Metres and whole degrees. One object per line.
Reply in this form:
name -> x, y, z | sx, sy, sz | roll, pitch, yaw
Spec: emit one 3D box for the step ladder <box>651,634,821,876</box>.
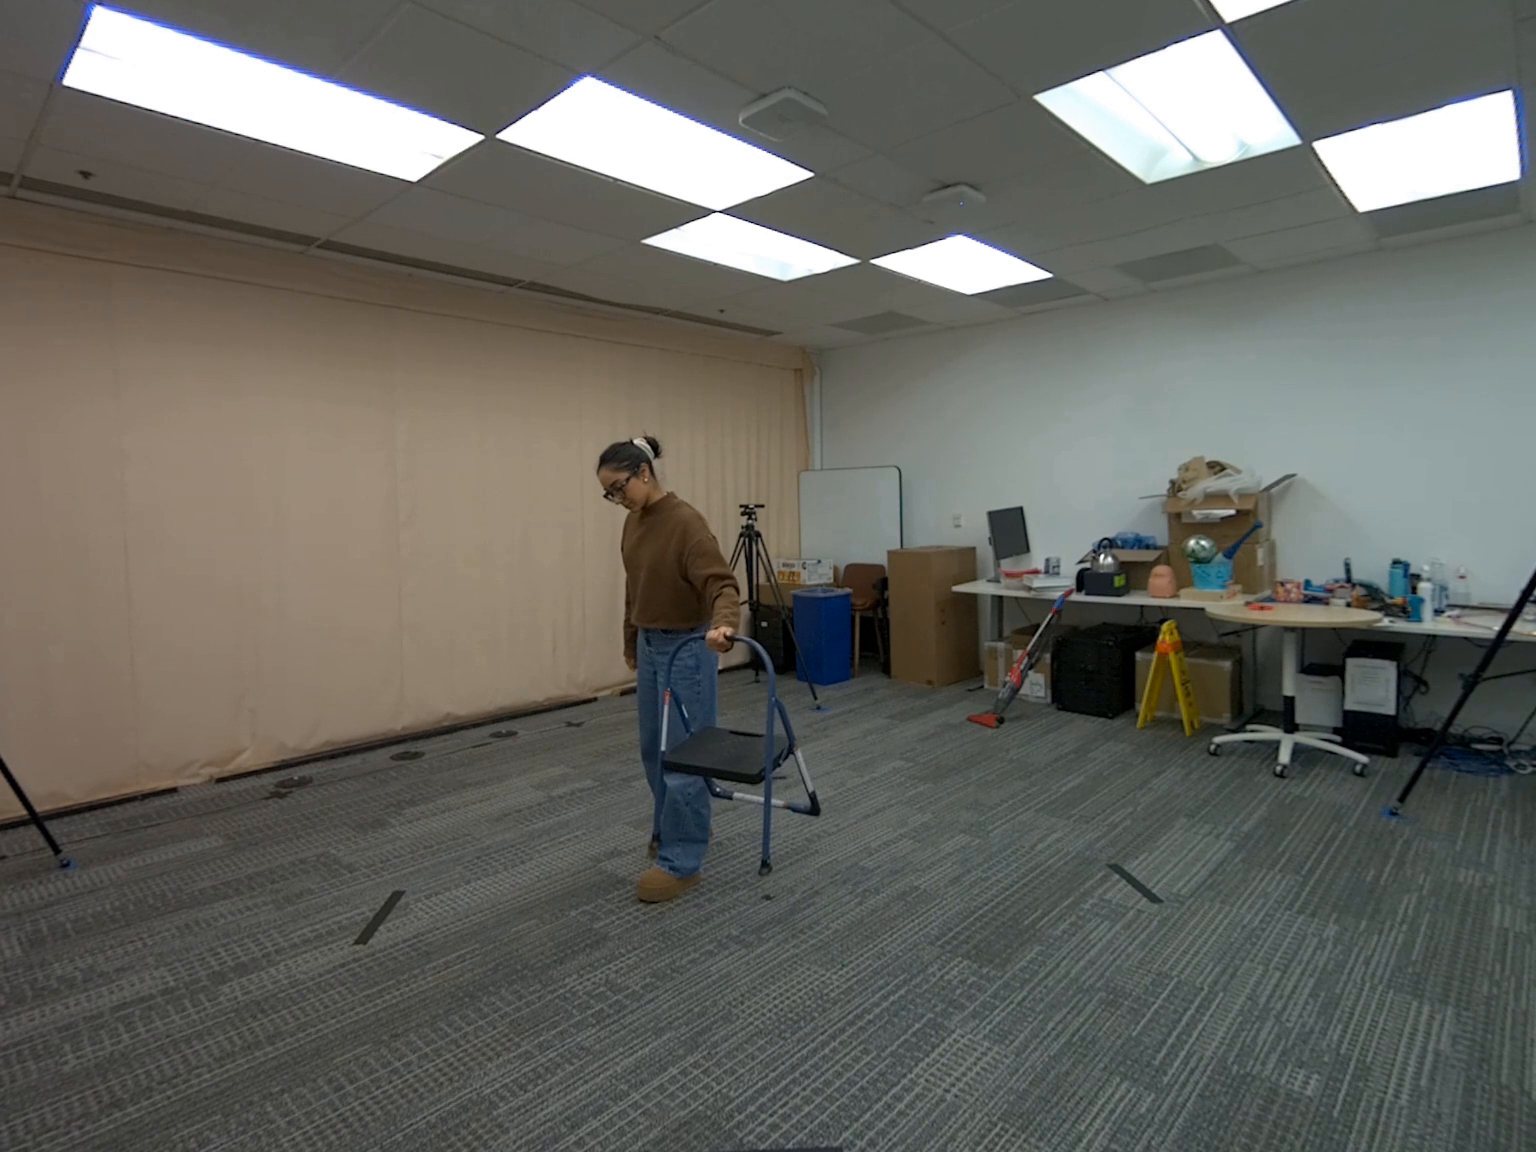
step ladder -> -0.137, 0.491, 2.525 | 0.443, 0.600, 0.342 | -1, 14, 34
